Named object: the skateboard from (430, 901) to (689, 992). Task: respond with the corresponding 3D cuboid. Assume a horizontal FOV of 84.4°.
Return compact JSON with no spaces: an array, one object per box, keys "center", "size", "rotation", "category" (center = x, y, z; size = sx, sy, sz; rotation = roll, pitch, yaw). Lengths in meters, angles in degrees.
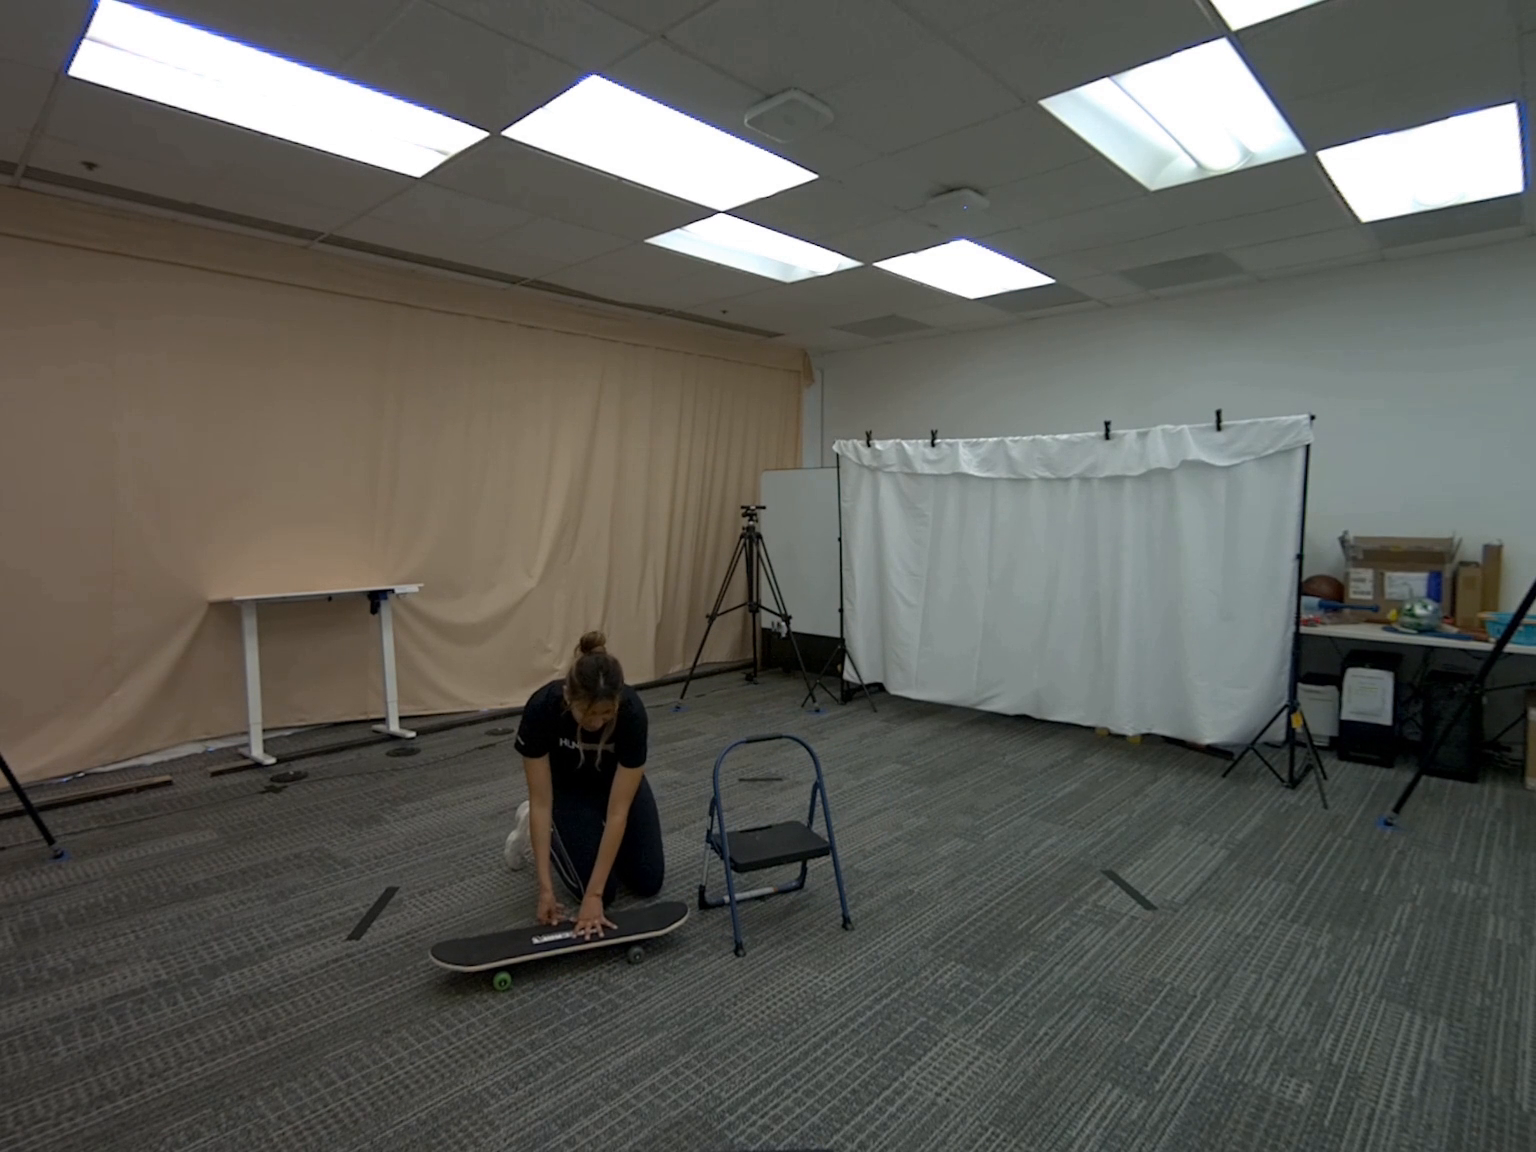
[{"center":[-0.616,1.124,2.569],"size":[0.770,0.110,0.197],"rotation":[-2,2,-20],"category":"skateboard"}]
